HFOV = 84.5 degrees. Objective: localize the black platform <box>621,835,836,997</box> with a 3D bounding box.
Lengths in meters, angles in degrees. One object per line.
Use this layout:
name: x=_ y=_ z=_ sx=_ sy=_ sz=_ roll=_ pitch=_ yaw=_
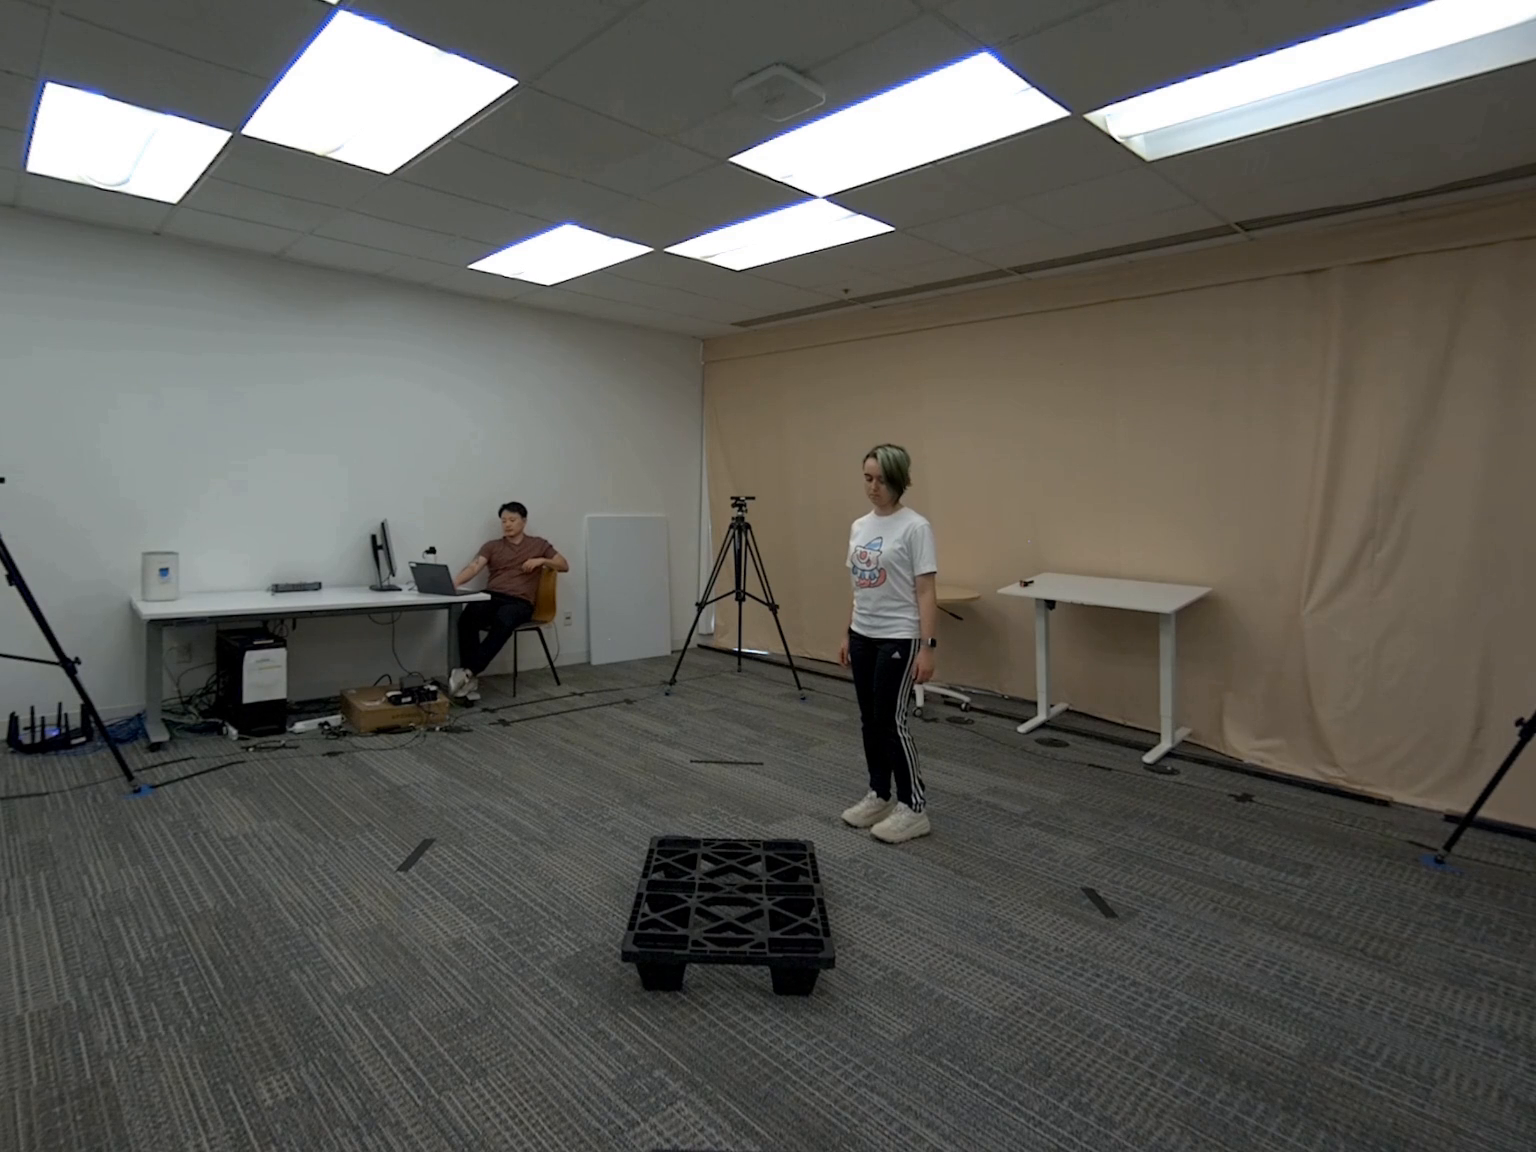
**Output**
black platform: x=-0.125 y=1.070 z=2.725 sx=0.605 sy=0.143 sz=0.808 roll=2 pitch=5 yaw=-1
